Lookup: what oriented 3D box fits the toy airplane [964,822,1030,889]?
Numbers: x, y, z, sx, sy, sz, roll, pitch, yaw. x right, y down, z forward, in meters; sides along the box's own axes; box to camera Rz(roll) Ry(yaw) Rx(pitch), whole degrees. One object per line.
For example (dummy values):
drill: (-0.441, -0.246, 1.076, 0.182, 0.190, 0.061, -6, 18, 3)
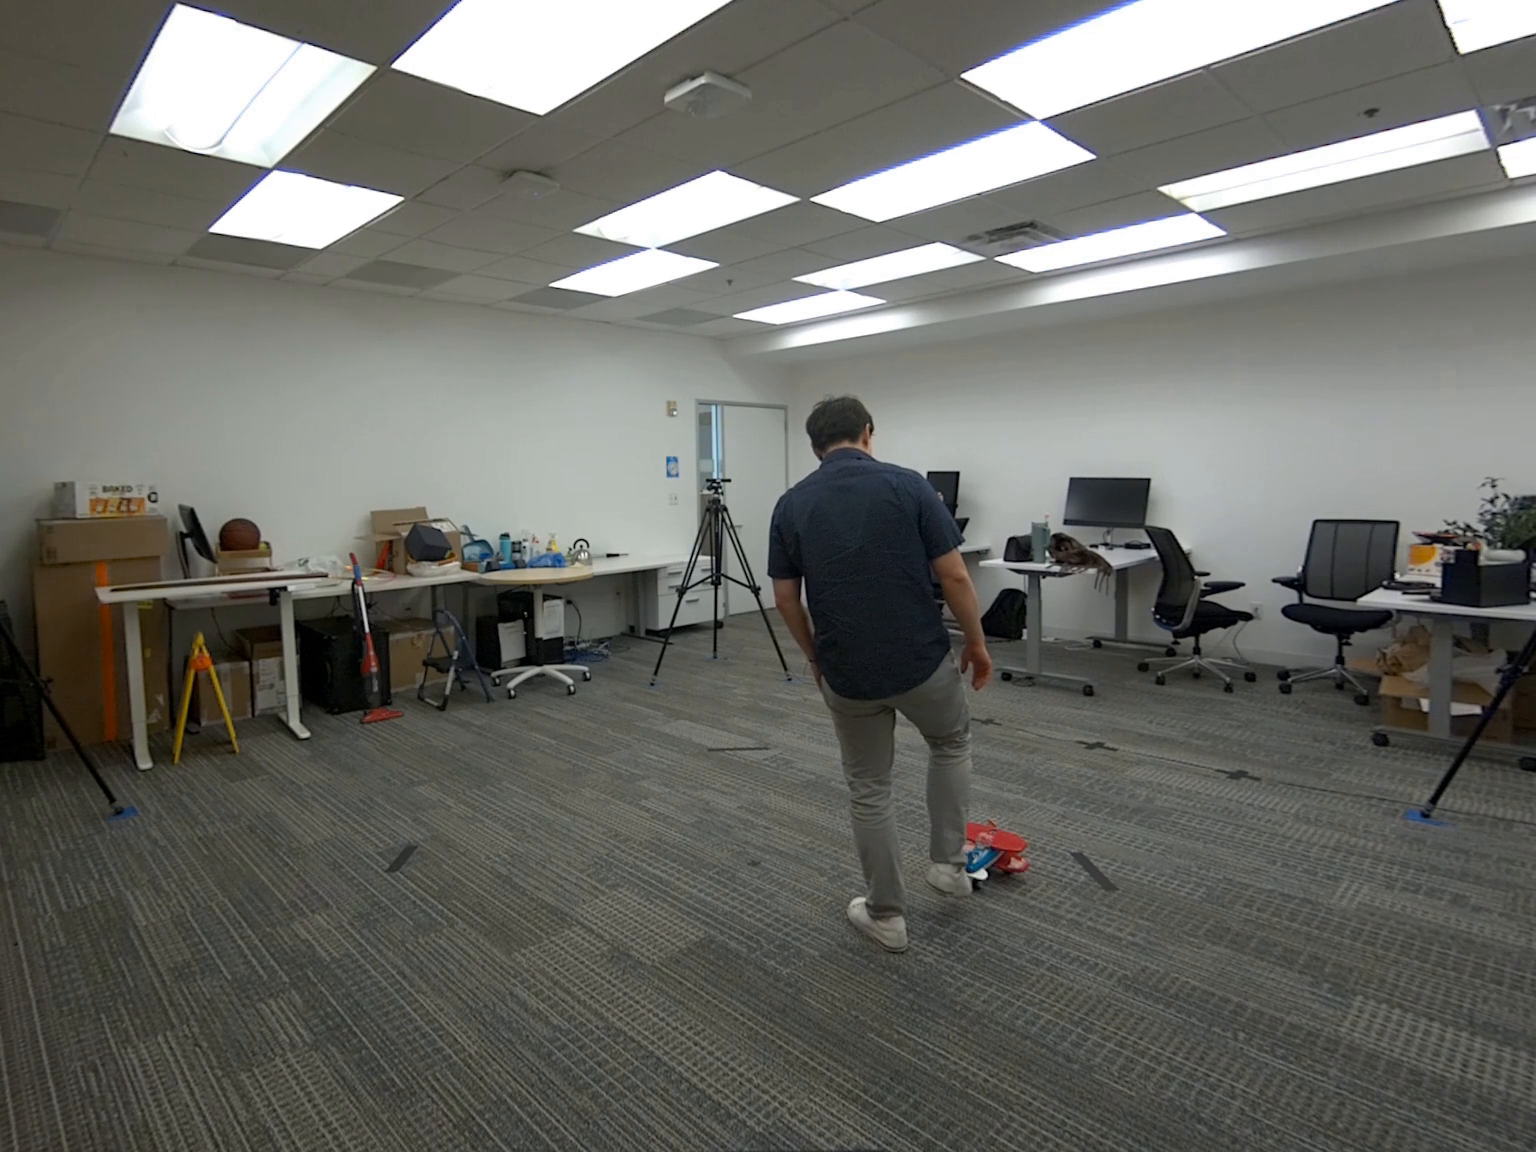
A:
toy airplane: (0.775, 0.974, 2.950, 0.255, 0.156, 0.256, 2, 5, 16)
